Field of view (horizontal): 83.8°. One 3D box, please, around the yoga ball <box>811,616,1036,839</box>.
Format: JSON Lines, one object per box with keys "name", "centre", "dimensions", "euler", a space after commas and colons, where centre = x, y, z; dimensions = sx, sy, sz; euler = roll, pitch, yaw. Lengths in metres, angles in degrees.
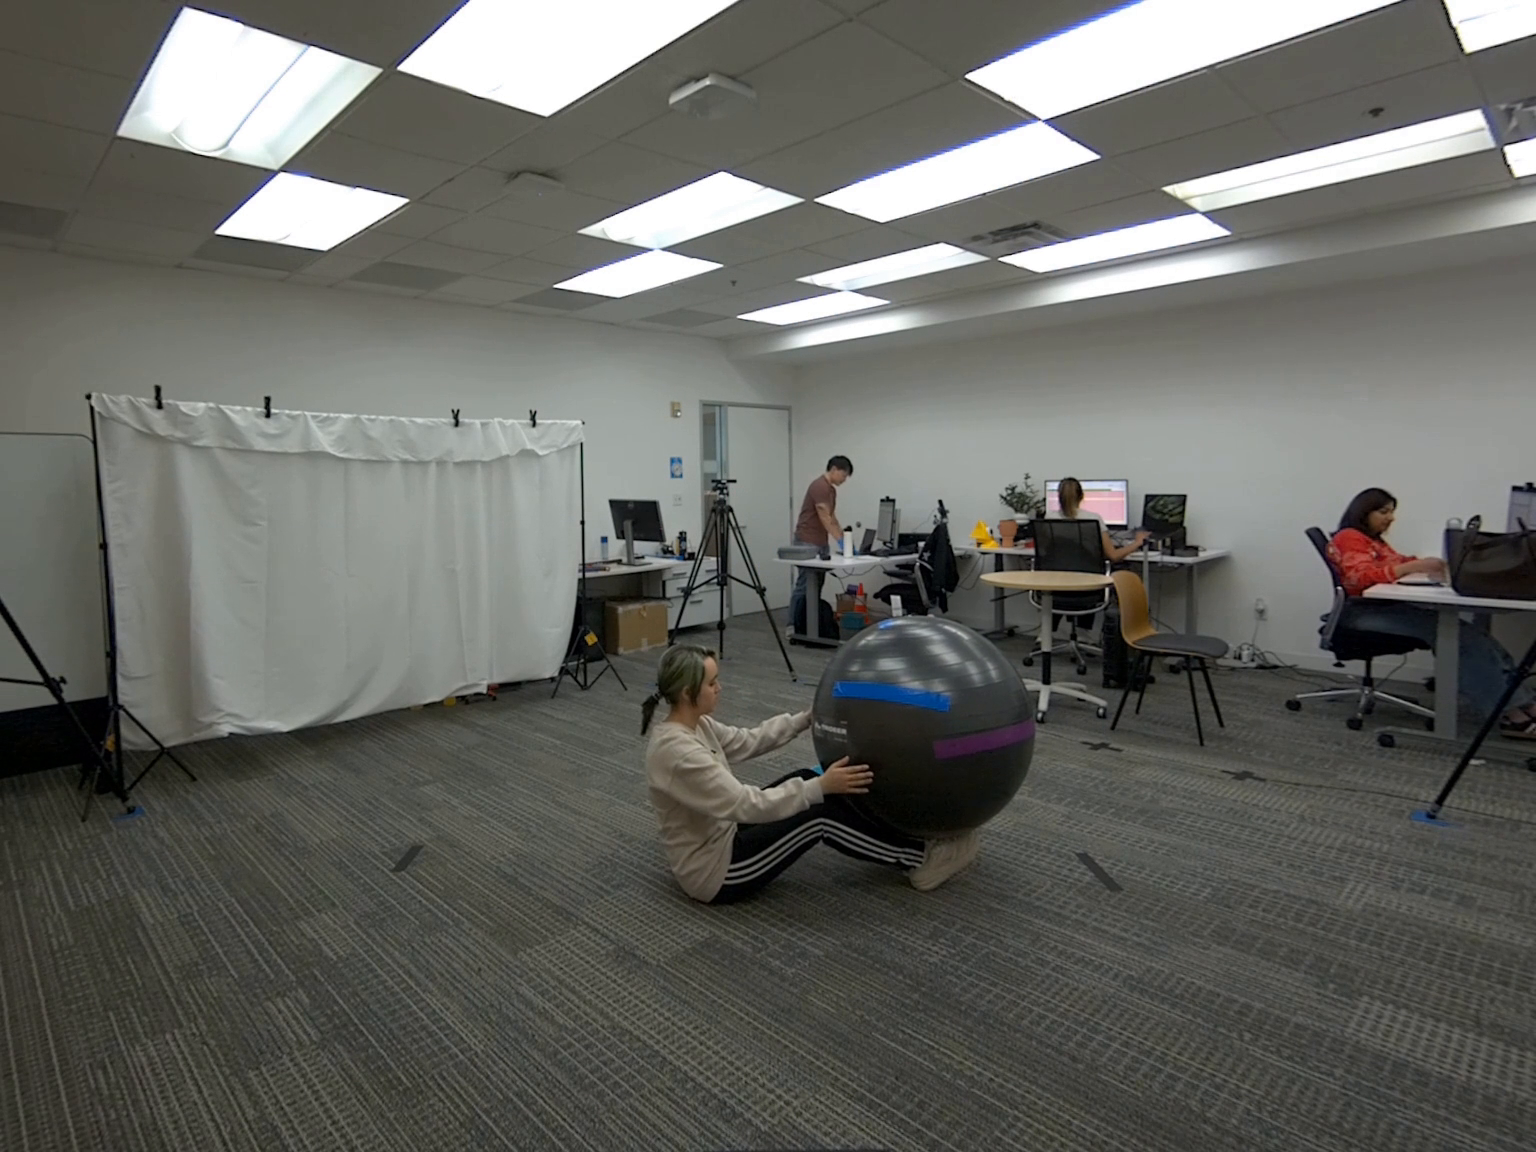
{"name": "yoga ball", "centre": [0.559, 0.527, 2.994], "dimensions": [0.757, 0.755, 0.762], "euler": [-1, 5, -2]}
